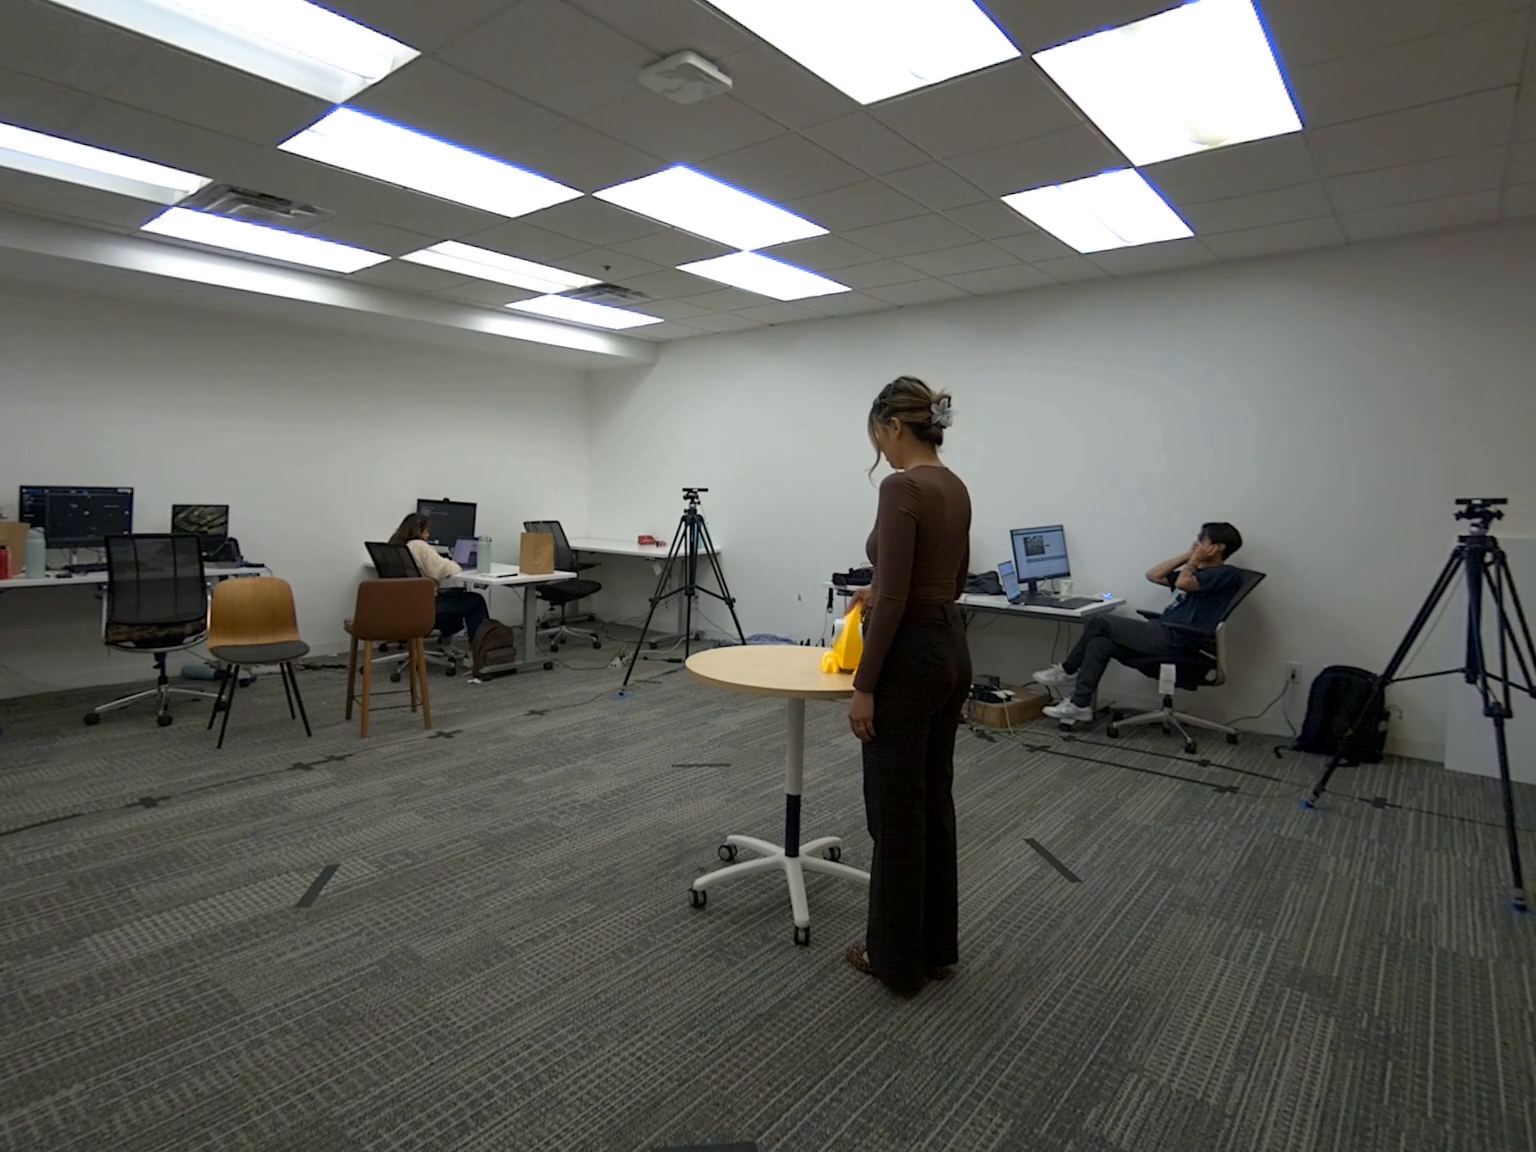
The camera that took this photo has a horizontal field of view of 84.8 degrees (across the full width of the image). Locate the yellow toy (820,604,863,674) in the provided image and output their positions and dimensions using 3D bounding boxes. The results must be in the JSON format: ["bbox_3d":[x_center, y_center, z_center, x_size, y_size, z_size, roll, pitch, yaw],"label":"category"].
[{"bbox_3d":[0.275,0.199,2.814,0.210,0.230,0.189,4,6,25],"label":"yellow toy"}]
